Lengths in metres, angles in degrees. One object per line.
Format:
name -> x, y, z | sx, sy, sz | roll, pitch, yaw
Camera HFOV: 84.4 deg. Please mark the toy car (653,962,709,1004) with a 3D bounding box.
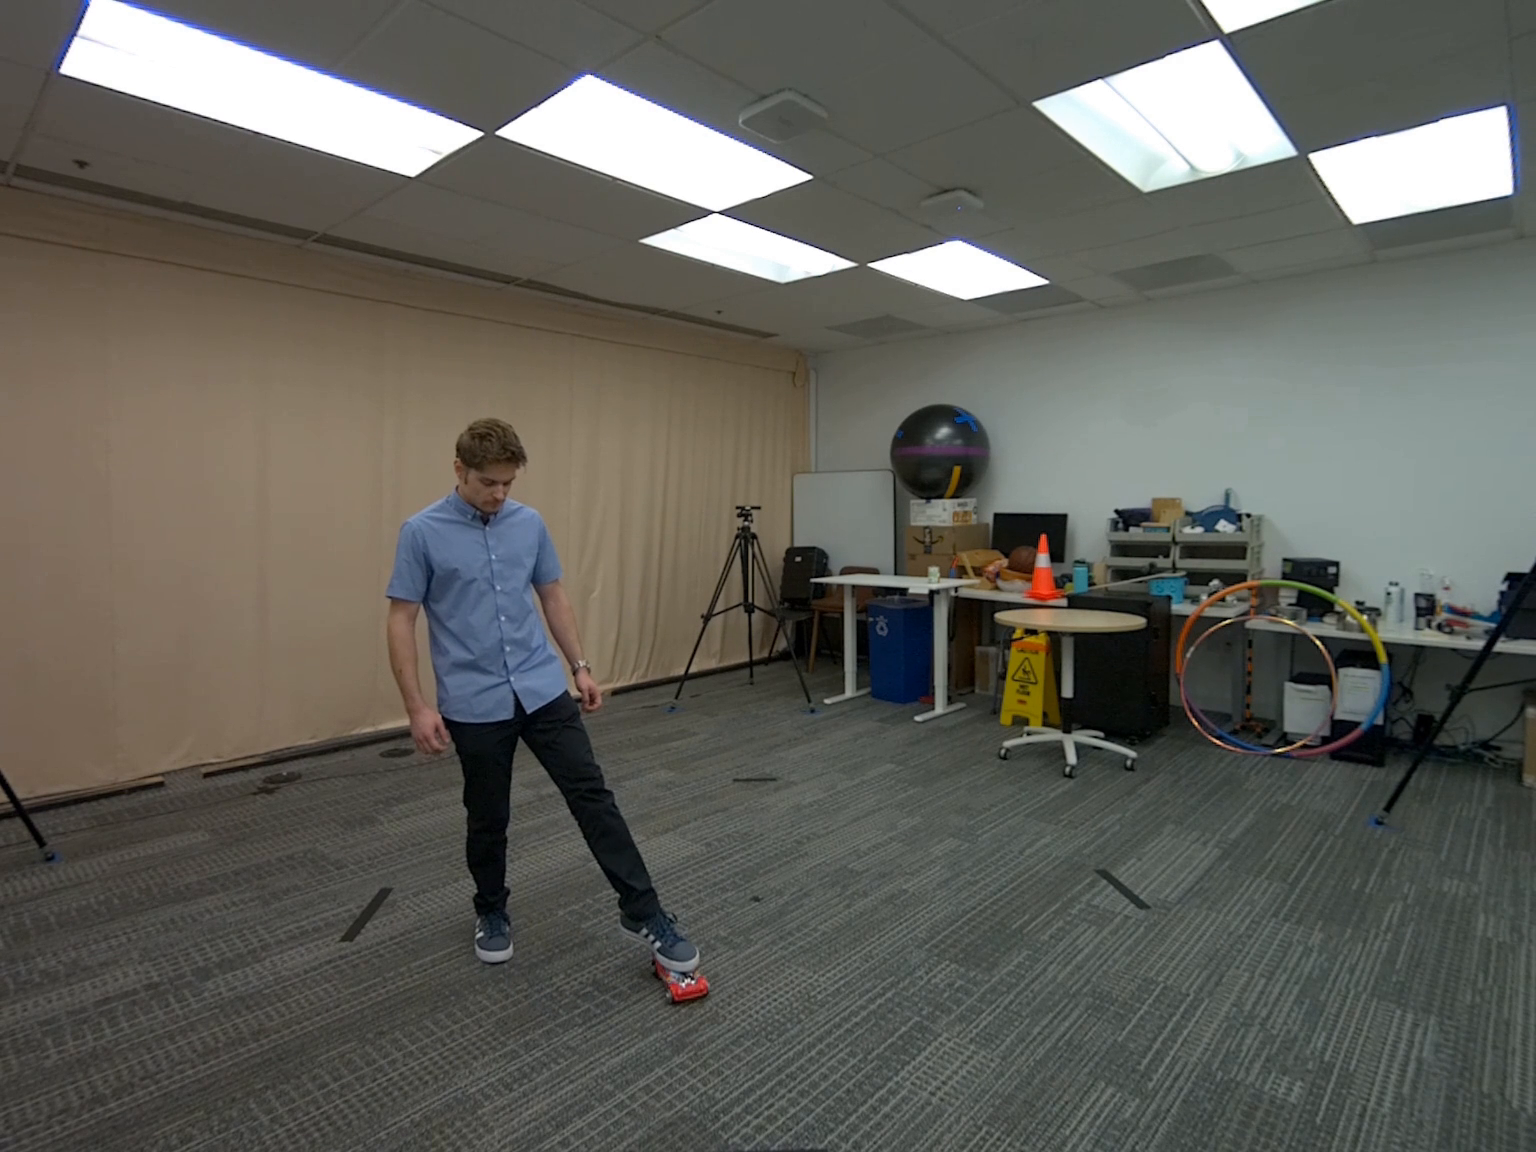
toy car -> -0.267, 1.161, 2.462 | 0.127, 0.082, 0.262 | -3, 15, -22
